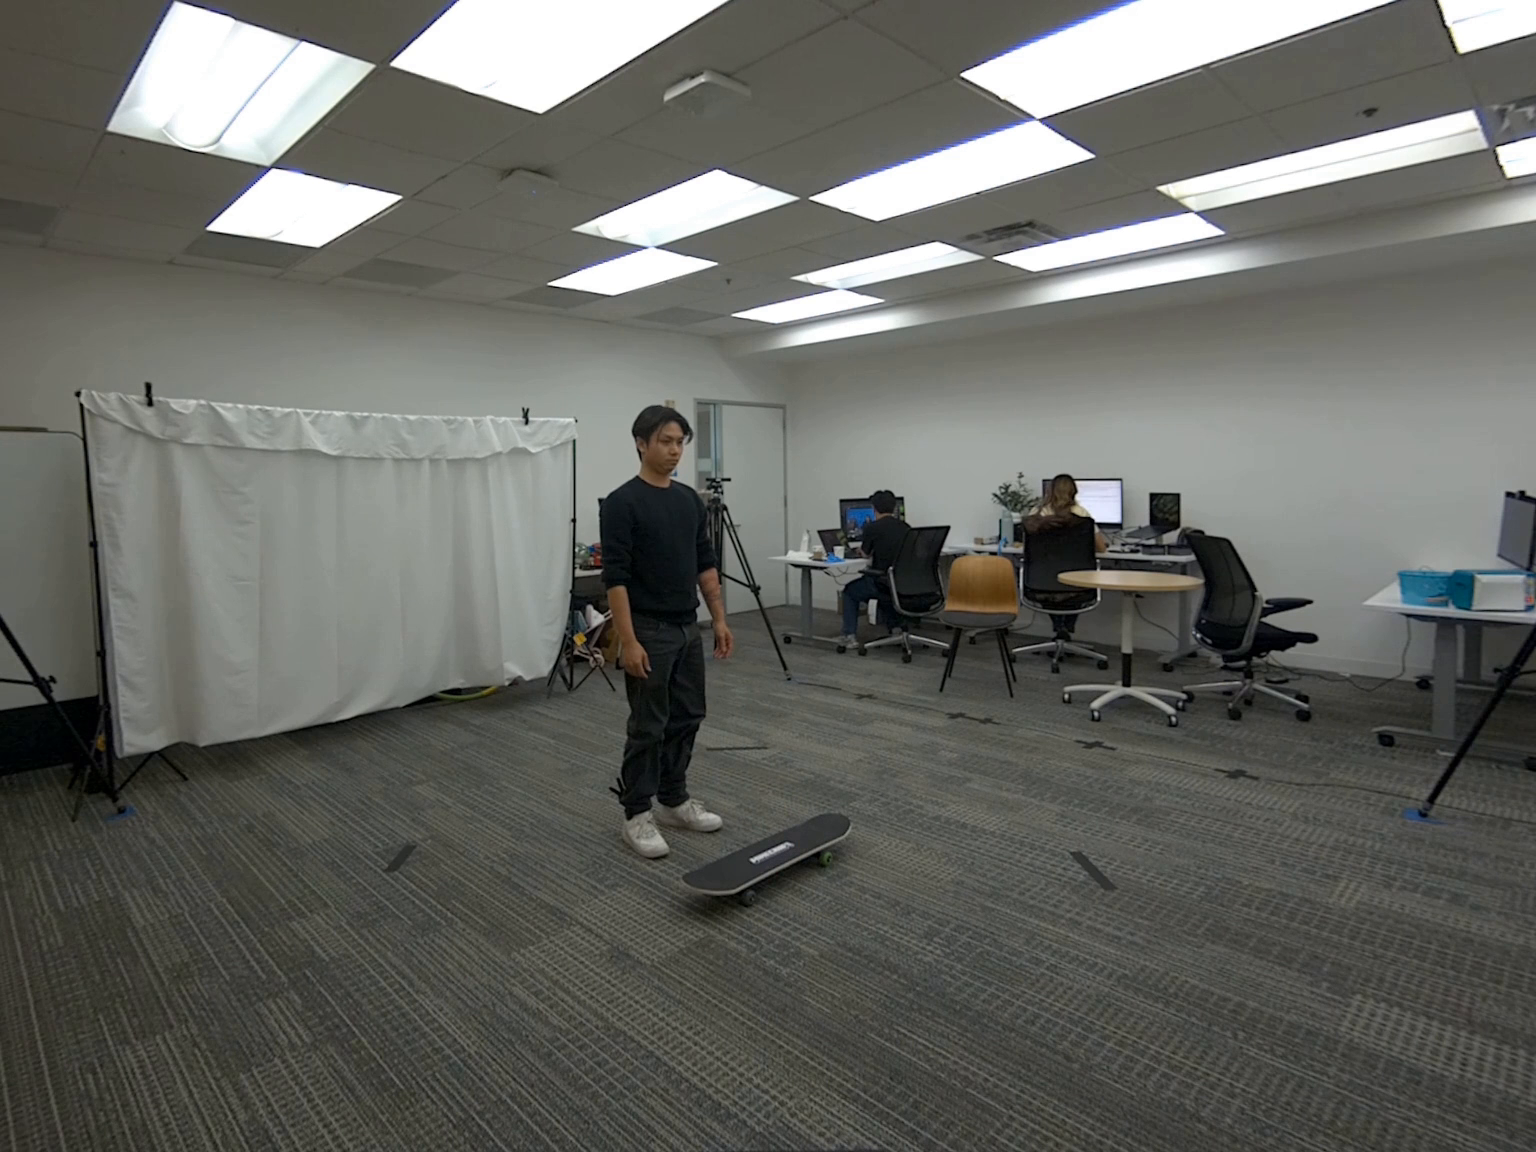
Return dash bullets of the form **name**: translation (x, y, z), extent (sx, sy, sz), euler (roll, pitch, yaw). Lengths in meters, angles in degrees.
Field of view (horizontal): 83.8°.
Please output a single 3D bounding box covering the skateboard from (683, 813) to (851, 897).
- **skateboard**: translation (0.021, 0.995, 2.987), extent (0.199, 0.110, 0.765), euler (4, 9, 44)
